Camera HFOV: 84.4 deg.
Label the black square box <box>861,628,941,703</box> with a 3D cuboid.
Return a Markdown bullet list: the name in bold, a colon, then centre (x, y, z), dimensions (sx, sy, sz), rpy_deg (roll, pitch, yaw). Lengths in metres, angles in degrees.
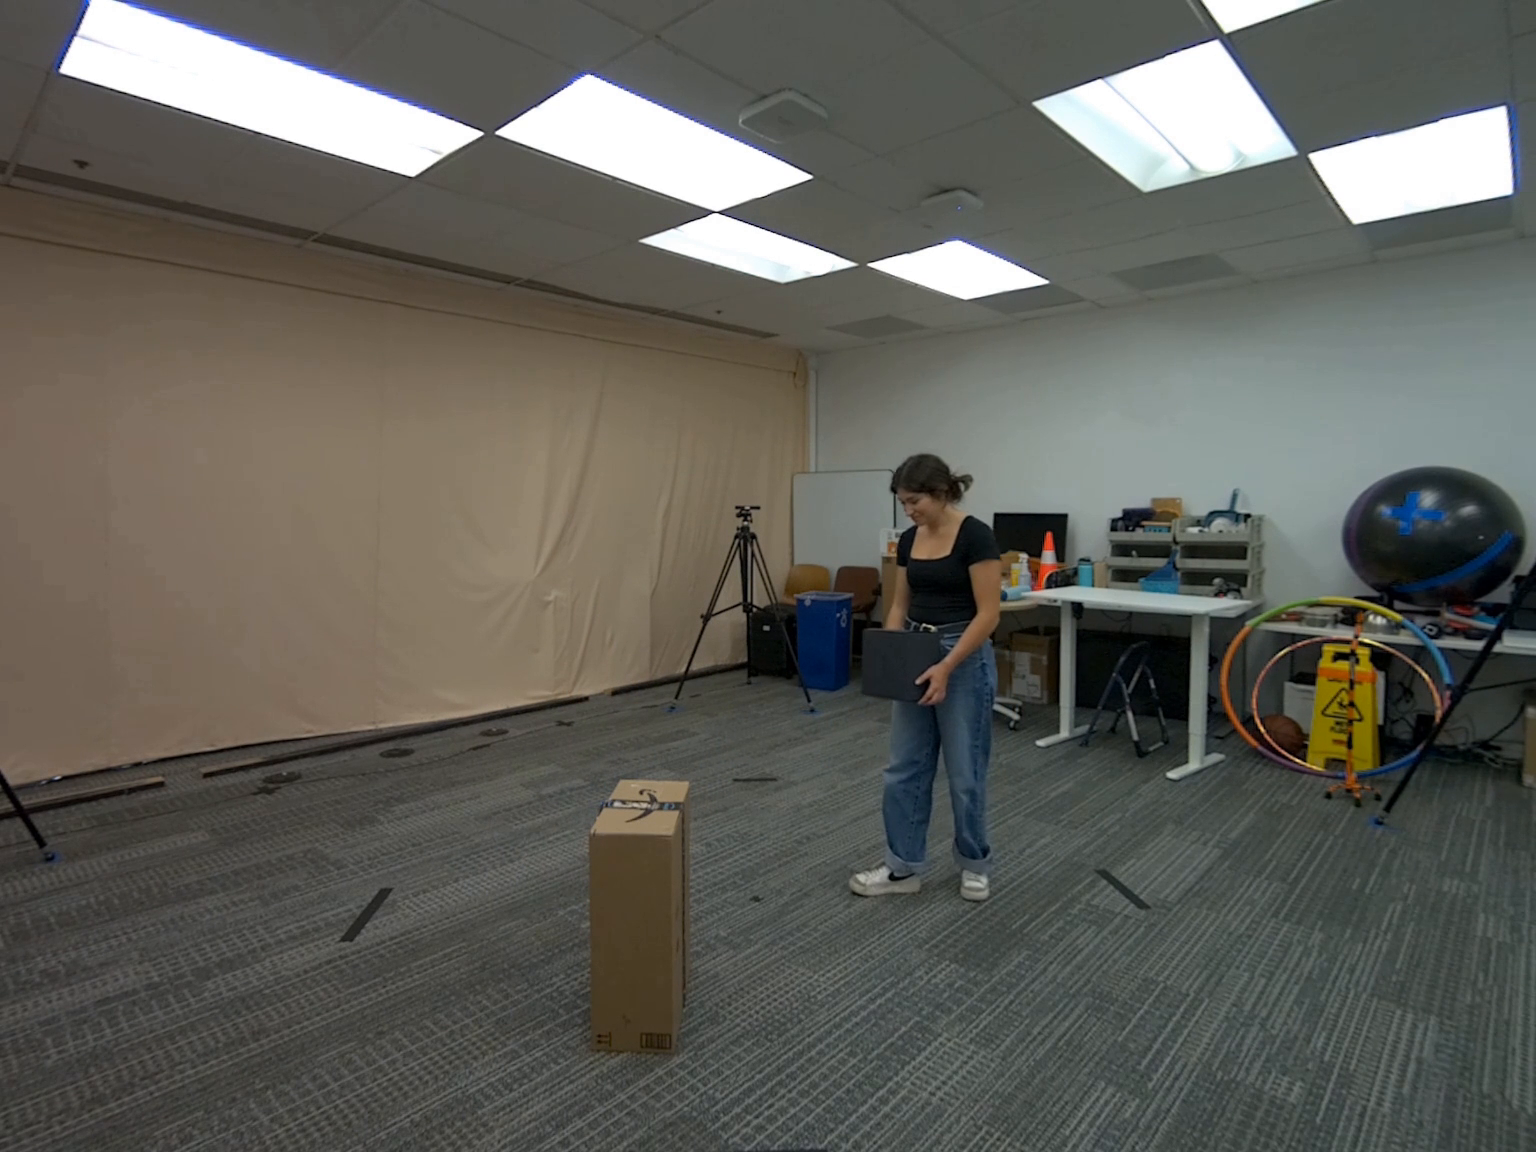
- **black square box**: centre (0.441, 0.300, 2.900), dimensions (0.221, 0.227, 0.153), rpy_deg (3, 2, 16)
